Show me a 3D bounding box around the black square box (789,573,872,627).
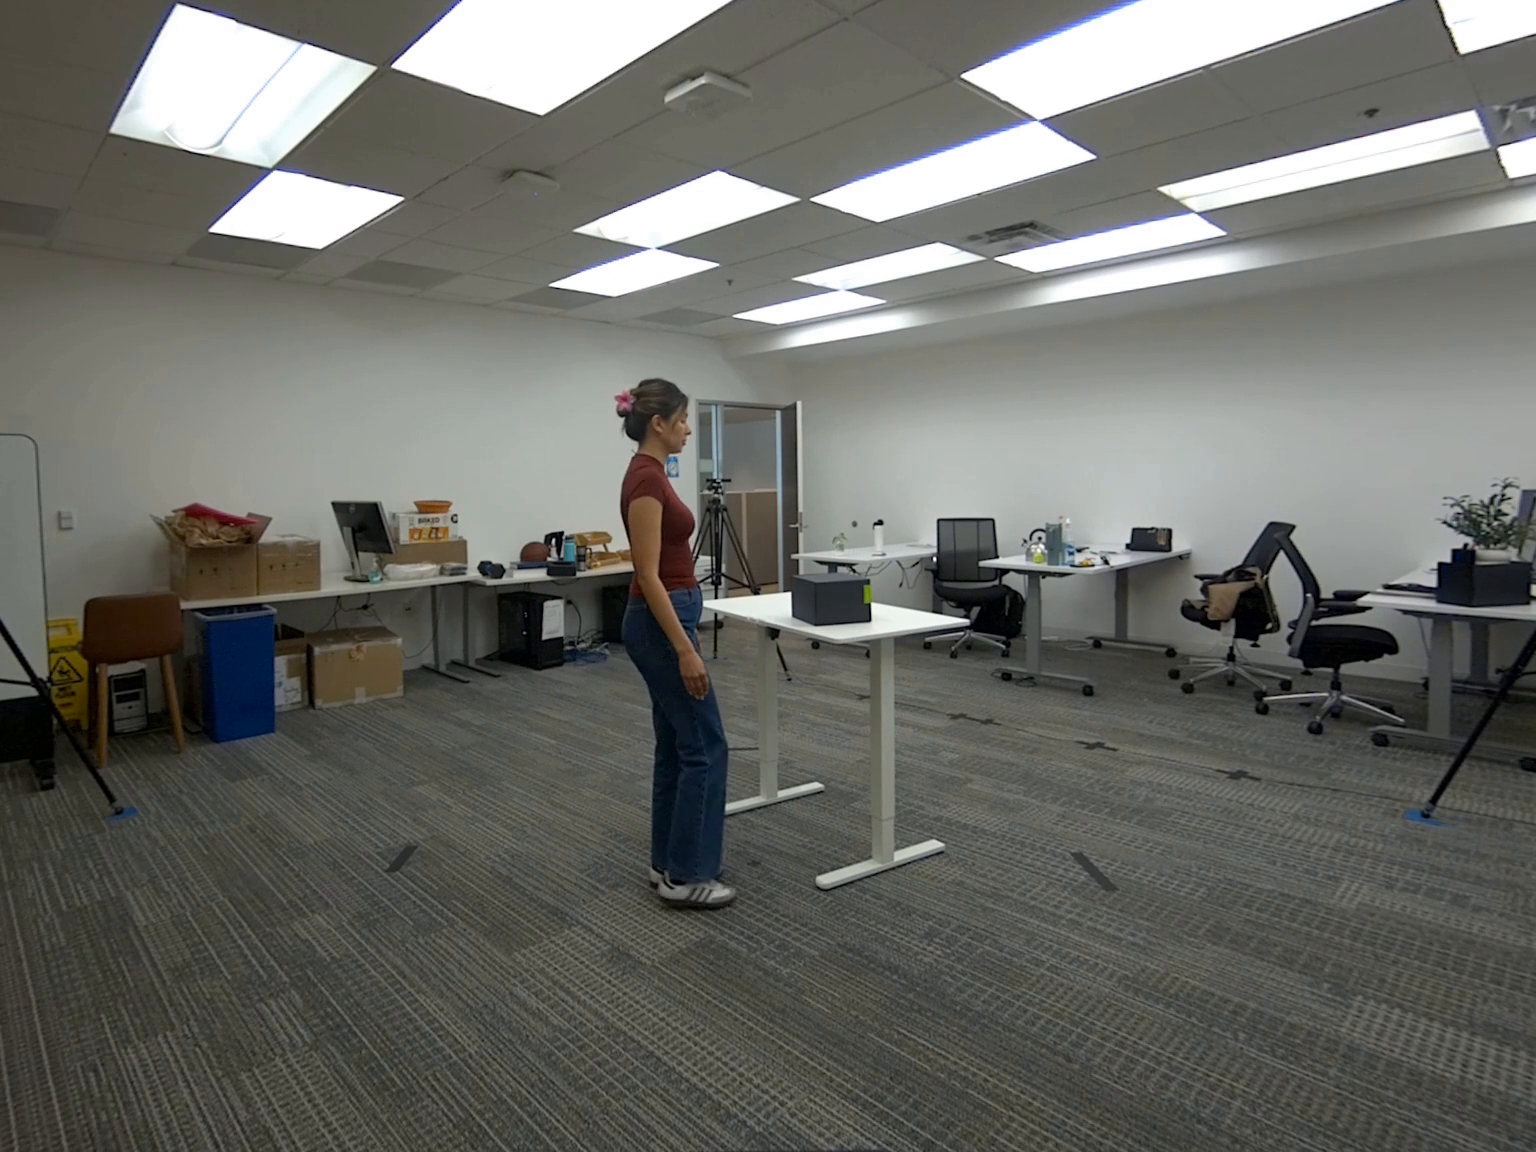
[{"bbox_3d":[0.227,0.079,3.095,0.213,0.155,0.232,-3,6,-18],"label":"black square box"}]
